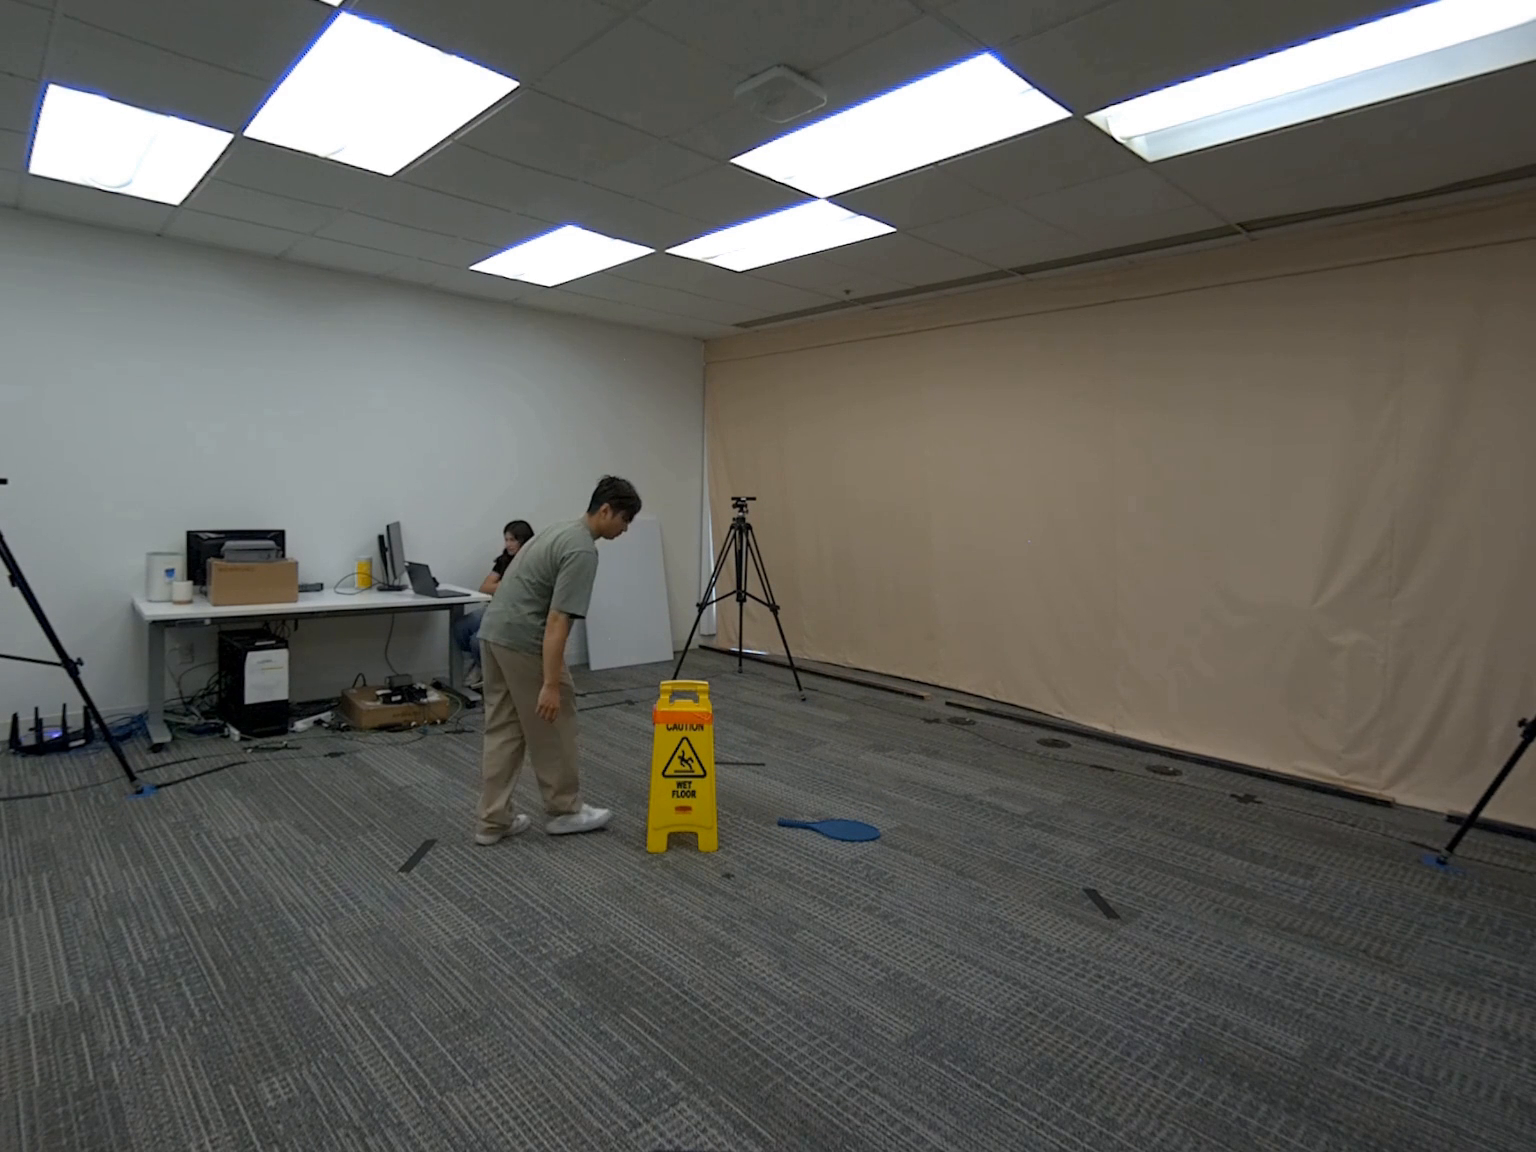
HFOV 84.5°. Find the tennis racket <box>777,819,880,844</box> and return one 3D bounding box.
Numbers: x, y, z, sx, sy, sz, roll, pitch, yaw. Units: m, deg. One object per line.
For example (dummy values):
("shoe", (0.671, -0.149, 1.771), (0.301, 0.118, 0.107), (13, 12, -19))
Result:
("tennis racket", (0.245, 1.066, 3.566), (0.436, 0.032, 0.212), (3, 4, 9))
